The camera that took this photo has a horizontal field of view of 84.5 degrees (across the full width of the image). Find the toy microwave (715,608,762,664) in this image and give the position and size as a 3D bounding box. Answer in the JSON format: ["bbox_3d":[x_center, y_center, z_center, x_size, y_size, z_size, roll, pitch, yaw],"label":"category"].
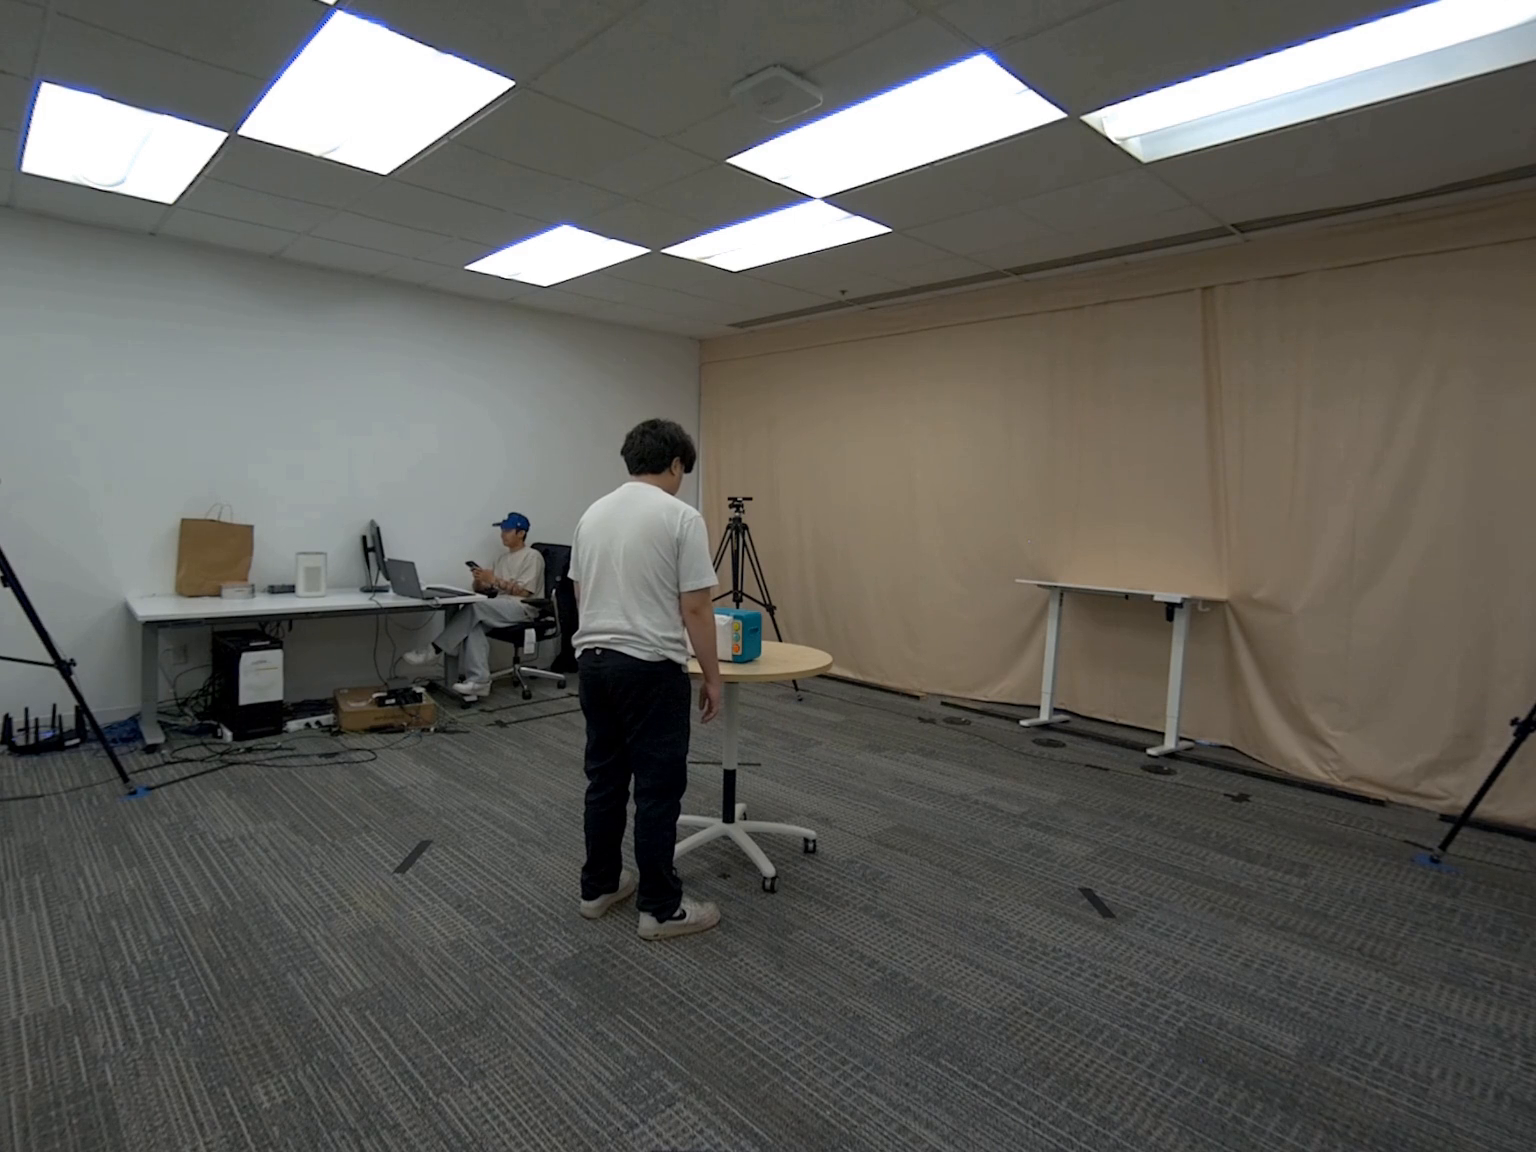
[{"bbox_3d":[-0.182,0.218,3.143,0.293,0.183,0.149,4,5,32],"label":"toy microwave"}]
